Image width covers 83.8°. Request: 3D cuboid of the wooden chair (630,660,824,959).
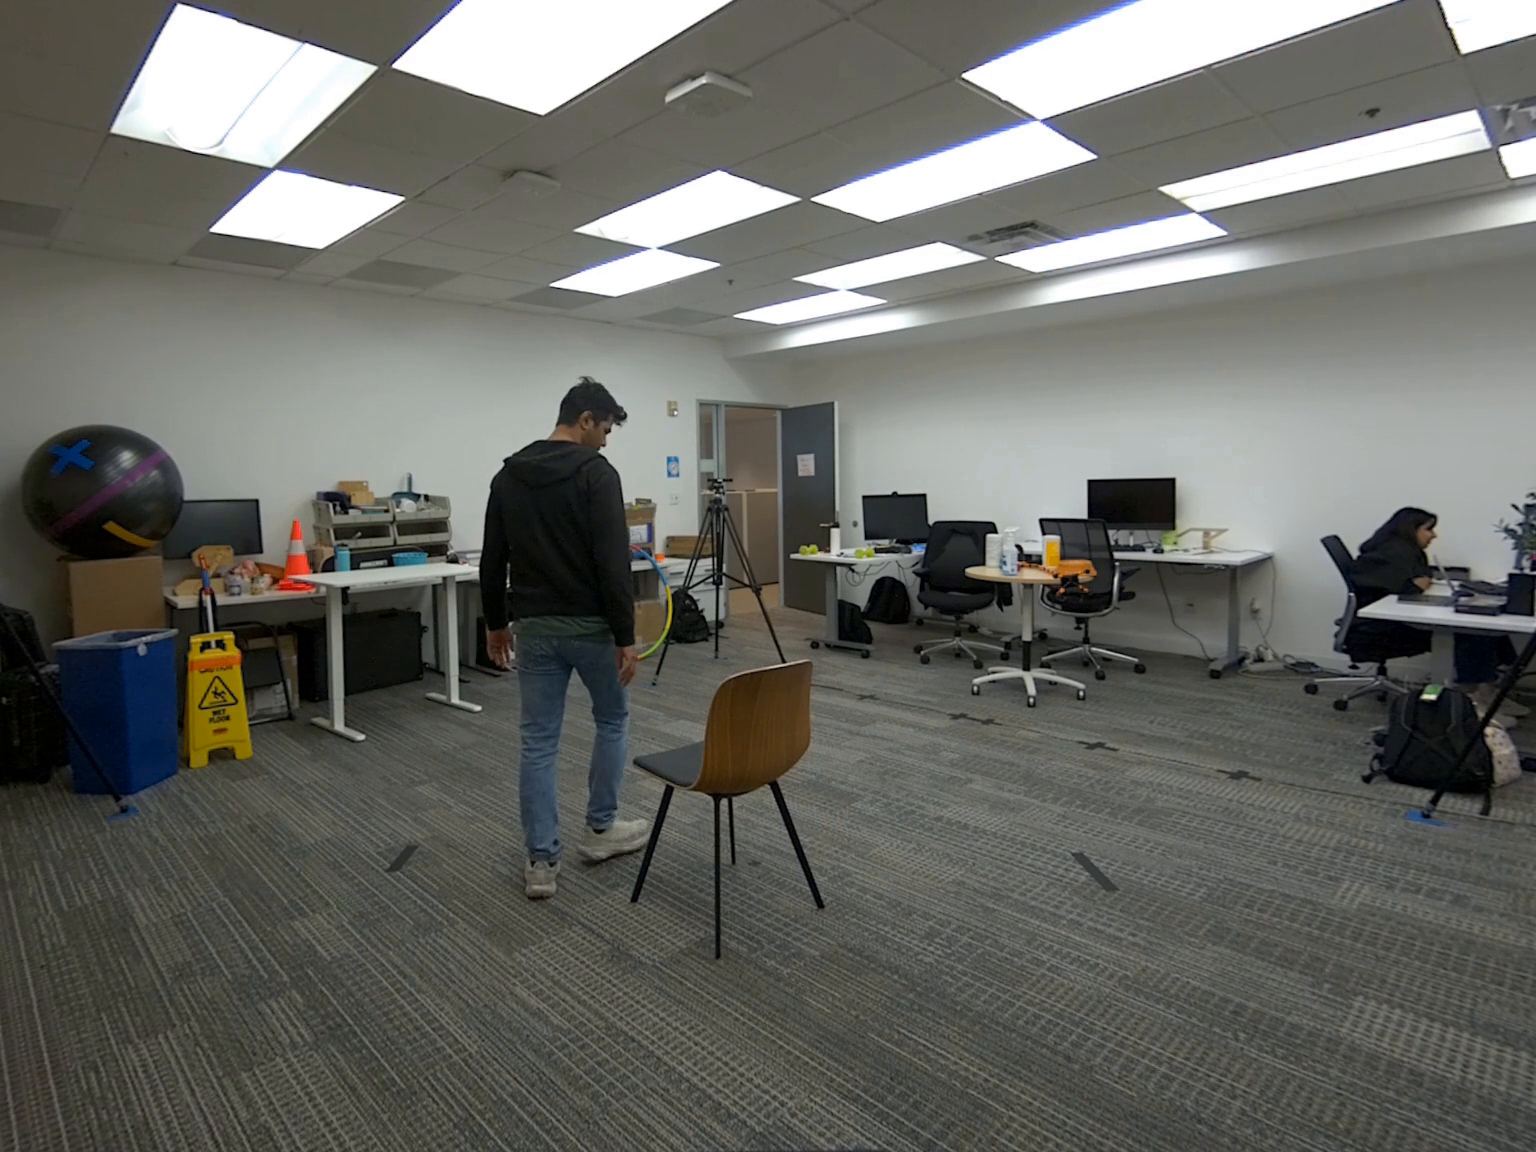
[{"bbox_3d":[-0.141,0.659,2.776,0.465,0.871,0.541,-5,10,-40],"label":"wooden chair"}]
